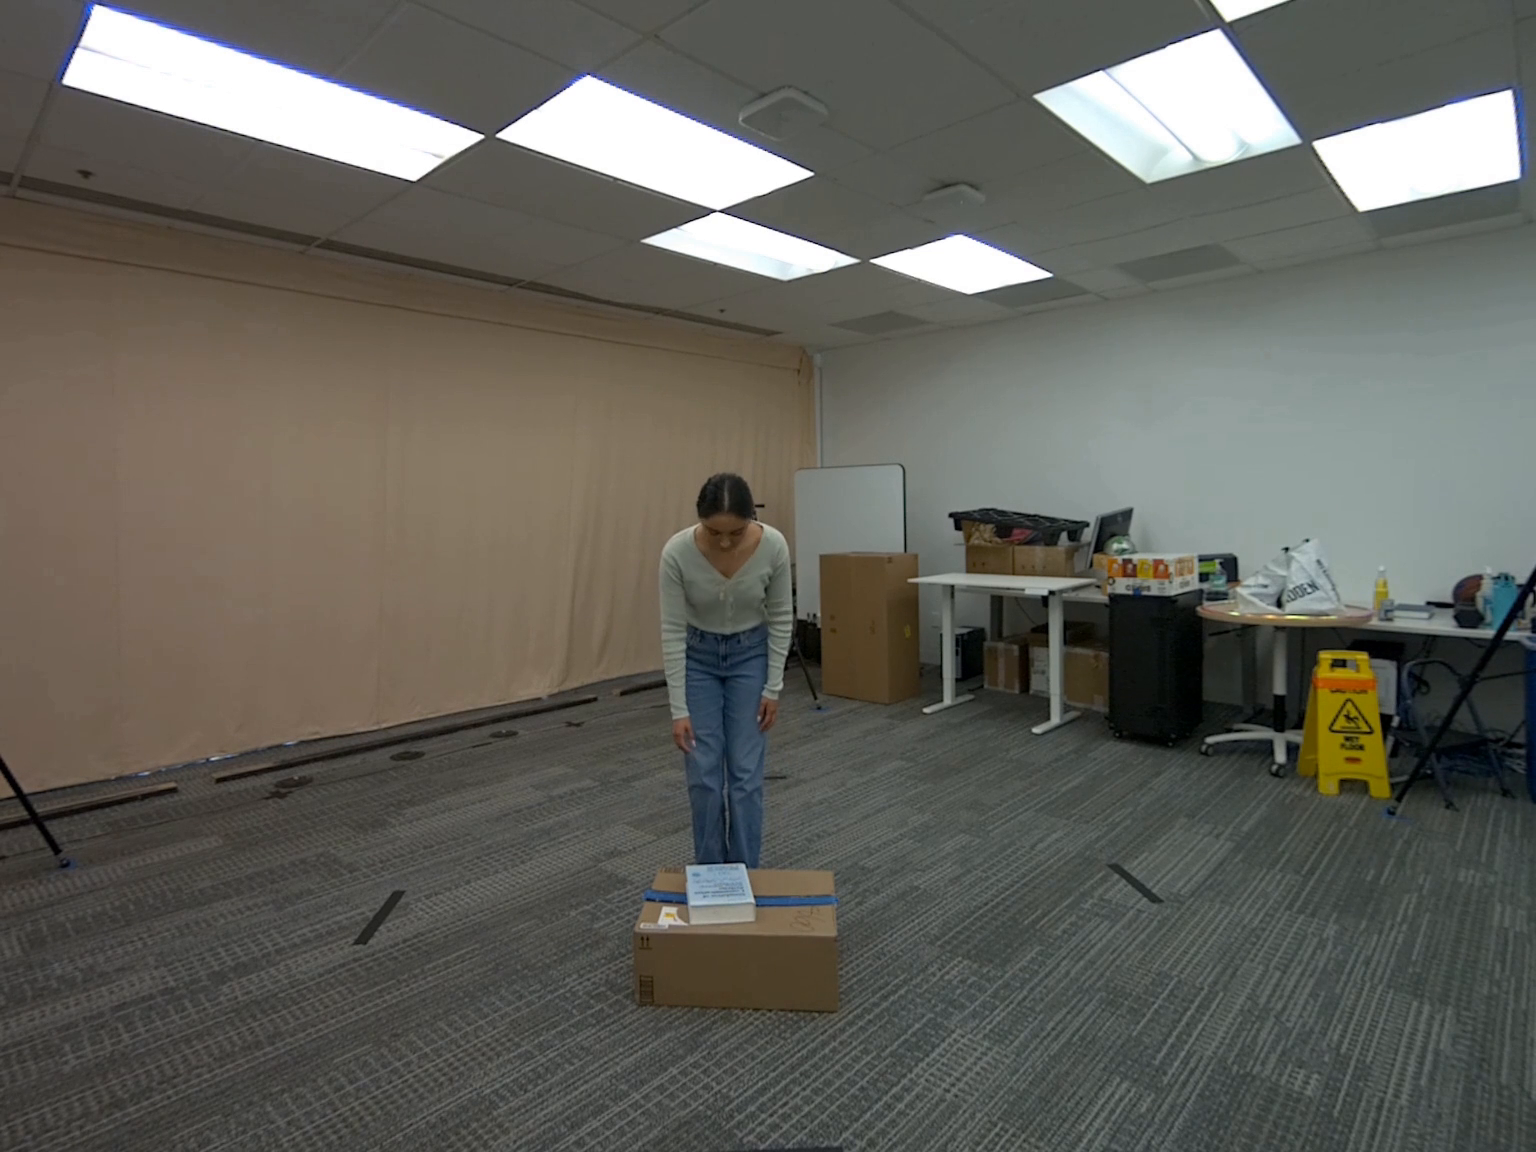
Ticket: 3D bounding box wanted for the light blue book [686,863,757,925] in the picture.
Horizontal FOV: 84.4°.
[{"bbox_3d":[-0.144,0.936,2.515,0.190,0.059,0.263,-1,4,-6],"label":"light blue book"}]
